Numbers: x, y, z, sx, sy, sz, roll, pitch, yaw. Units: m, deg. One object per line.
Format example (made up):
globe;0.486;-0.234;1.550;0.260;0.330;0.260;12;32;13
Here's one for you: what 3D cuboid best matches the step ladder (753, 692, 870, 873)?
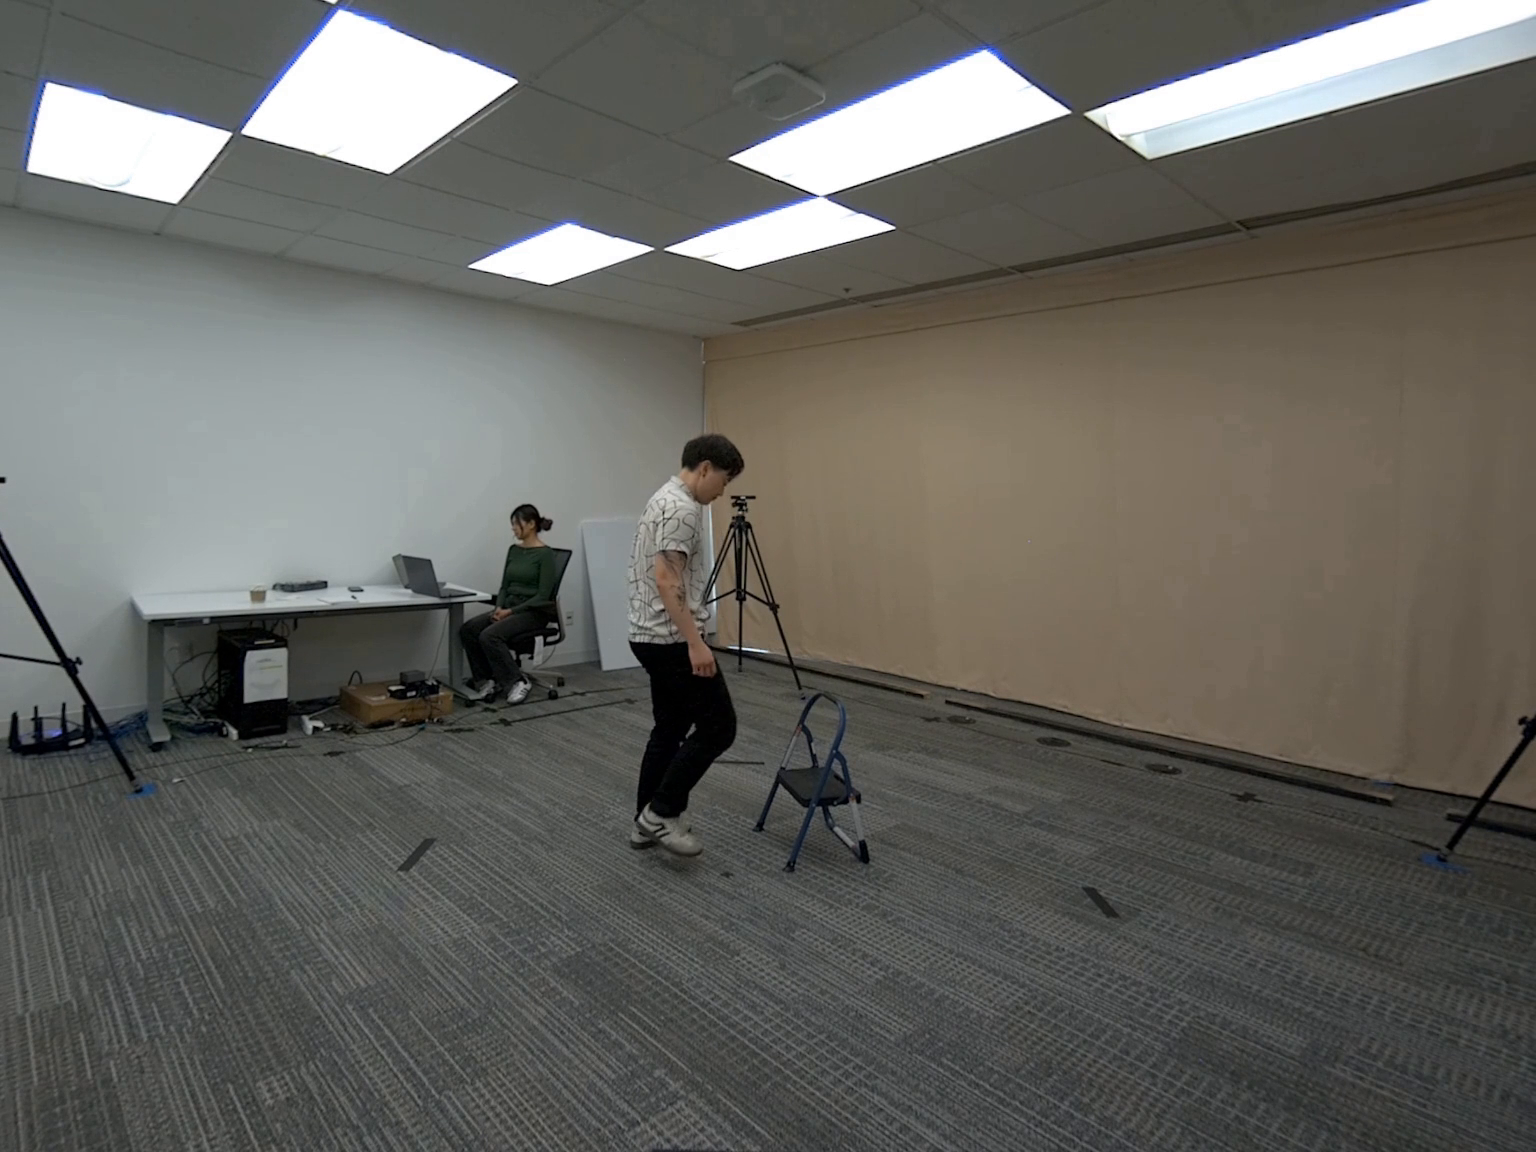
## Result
step ladder;0.166;0.783;3.366;0.345;0.604;0.437;0;4;-17
